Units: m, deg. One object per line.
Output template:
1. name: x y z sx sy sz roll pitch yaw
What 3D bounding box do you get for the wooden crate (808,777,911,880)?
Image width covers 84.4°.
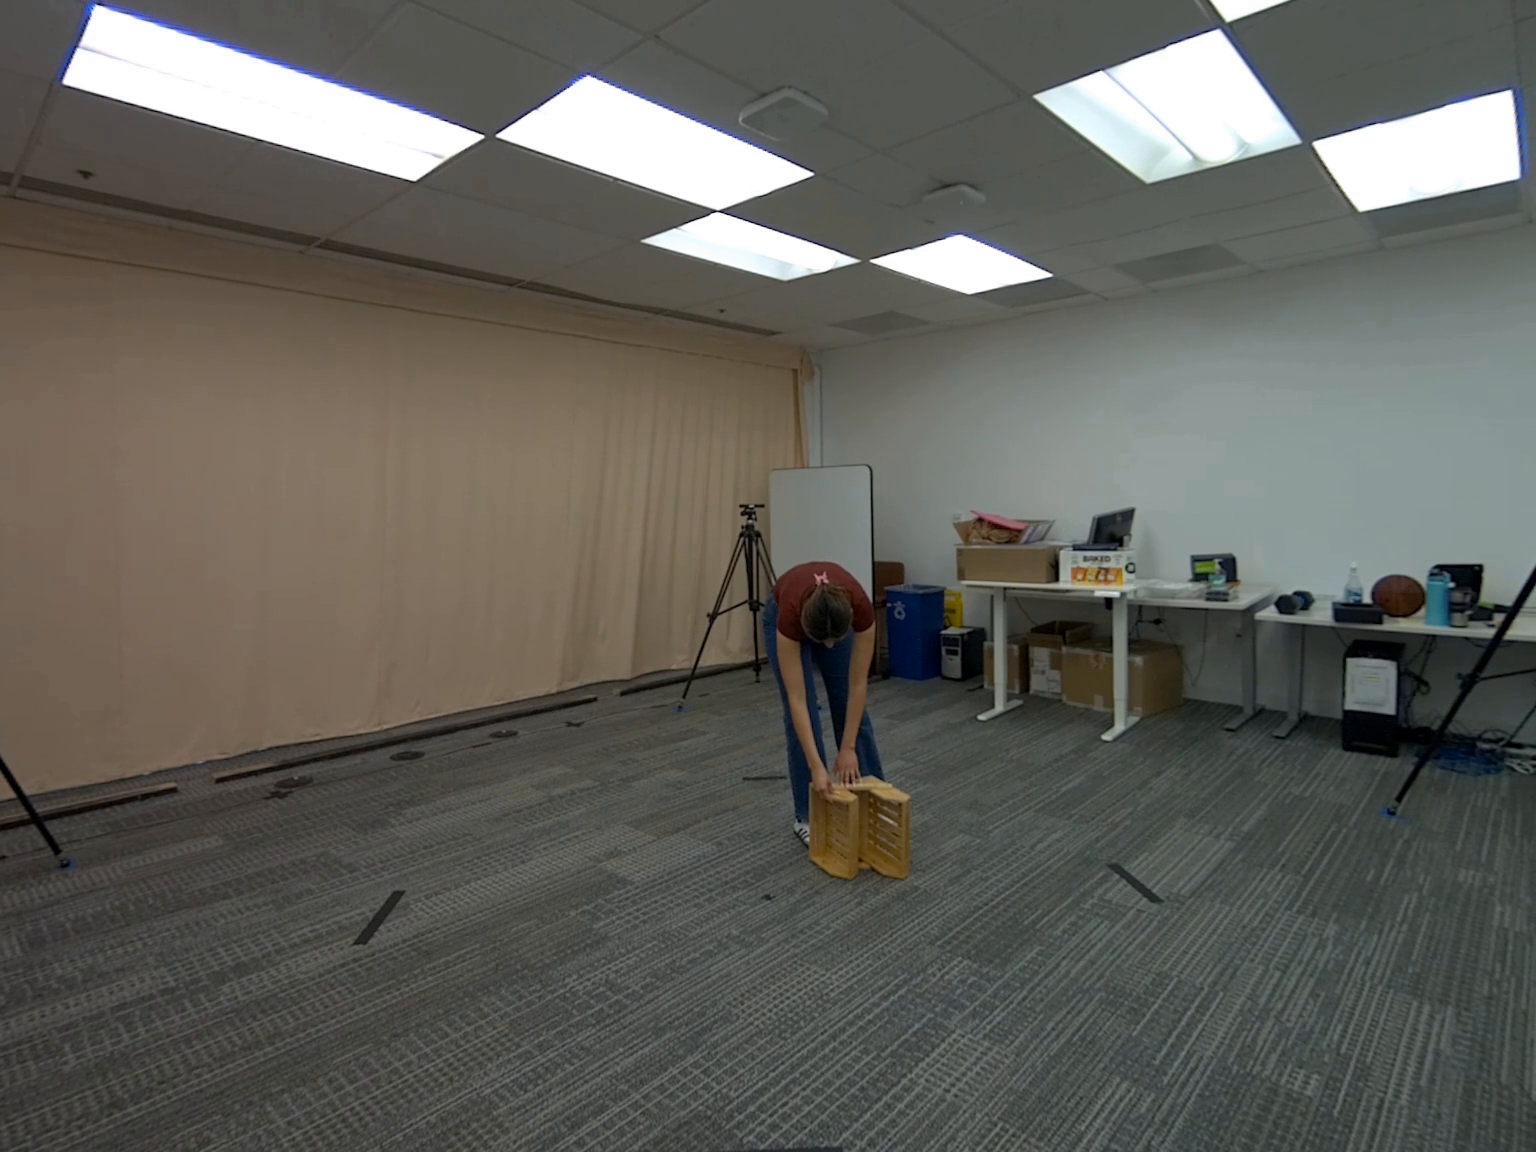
1. wooden crate: 0.344 0.949 3.170 0.266 0.323 0.311 -5 8 -29
